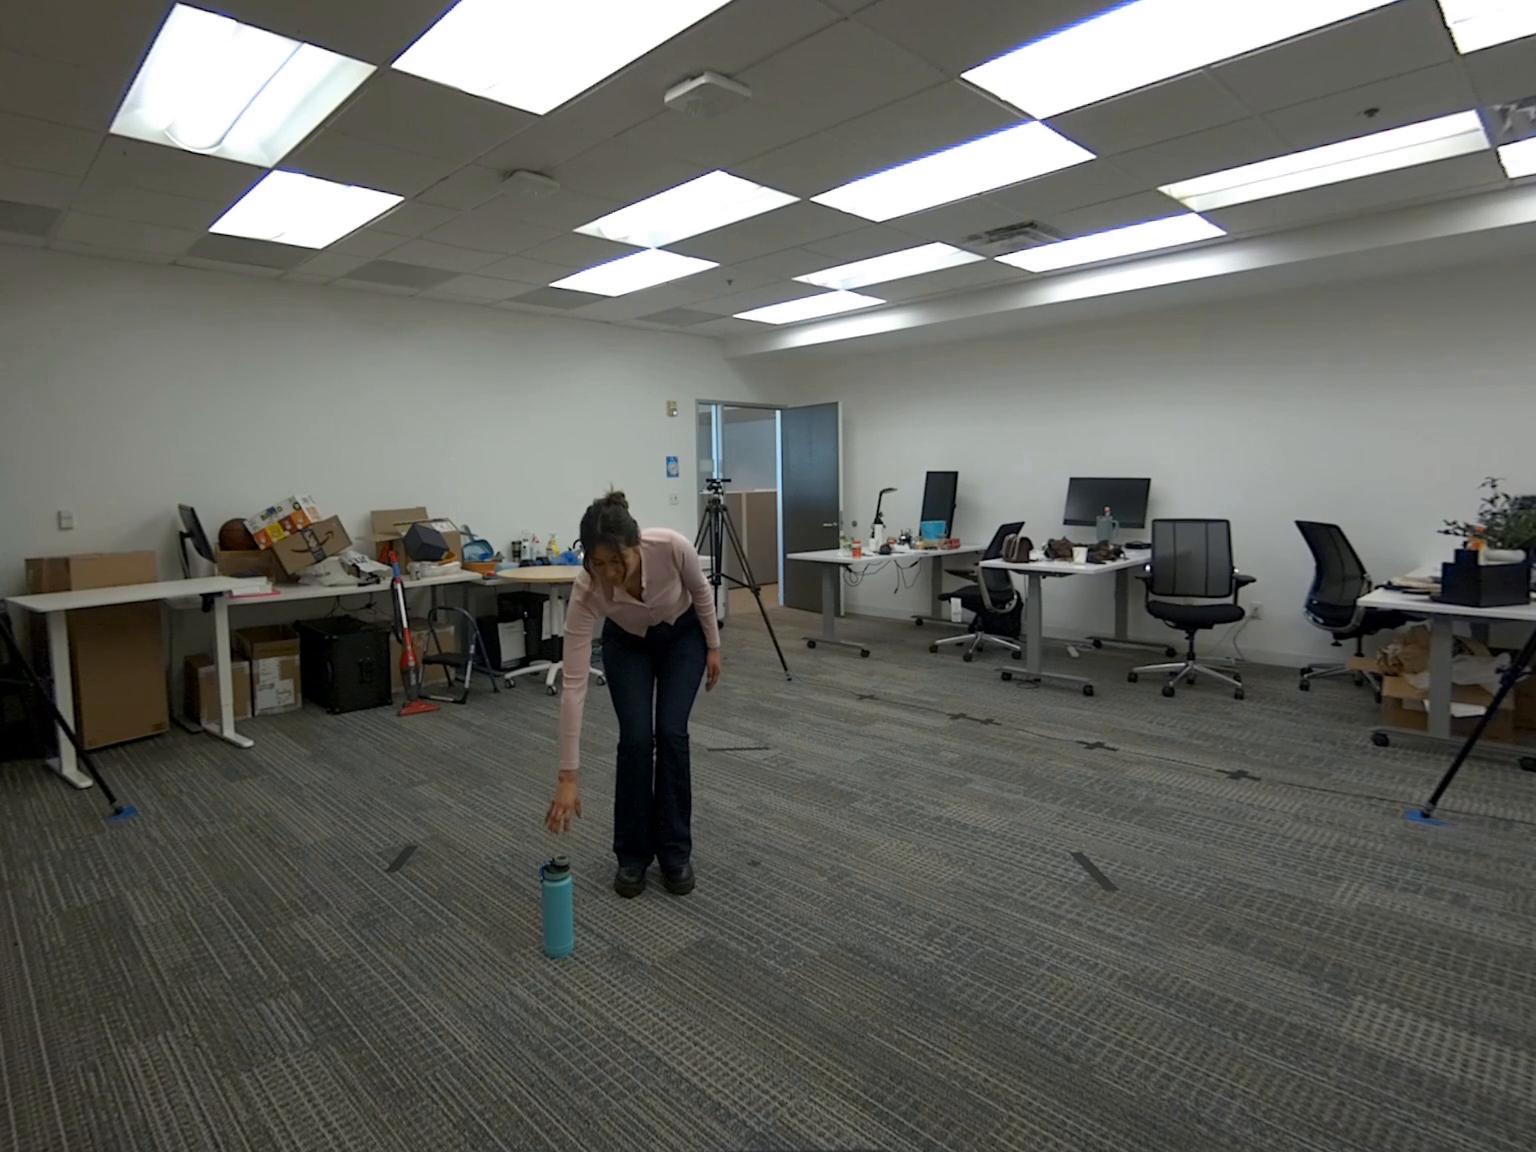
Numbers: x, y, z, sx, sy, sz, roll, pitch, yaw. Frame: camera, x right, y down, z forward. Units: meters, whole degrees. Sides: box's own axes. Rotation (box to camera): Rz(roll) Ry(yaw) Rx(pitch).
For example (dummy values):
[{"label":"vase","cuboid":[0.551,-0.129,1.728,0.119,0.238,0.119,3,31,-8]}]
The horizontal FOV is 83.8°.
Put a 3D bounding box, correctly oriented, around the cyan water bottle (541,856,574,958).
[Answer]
[{"label":"cyan water bottle","cuboid":[-0.627,0.983,2.546,0.092,0.282,0.093,-2,5,-1]}]
